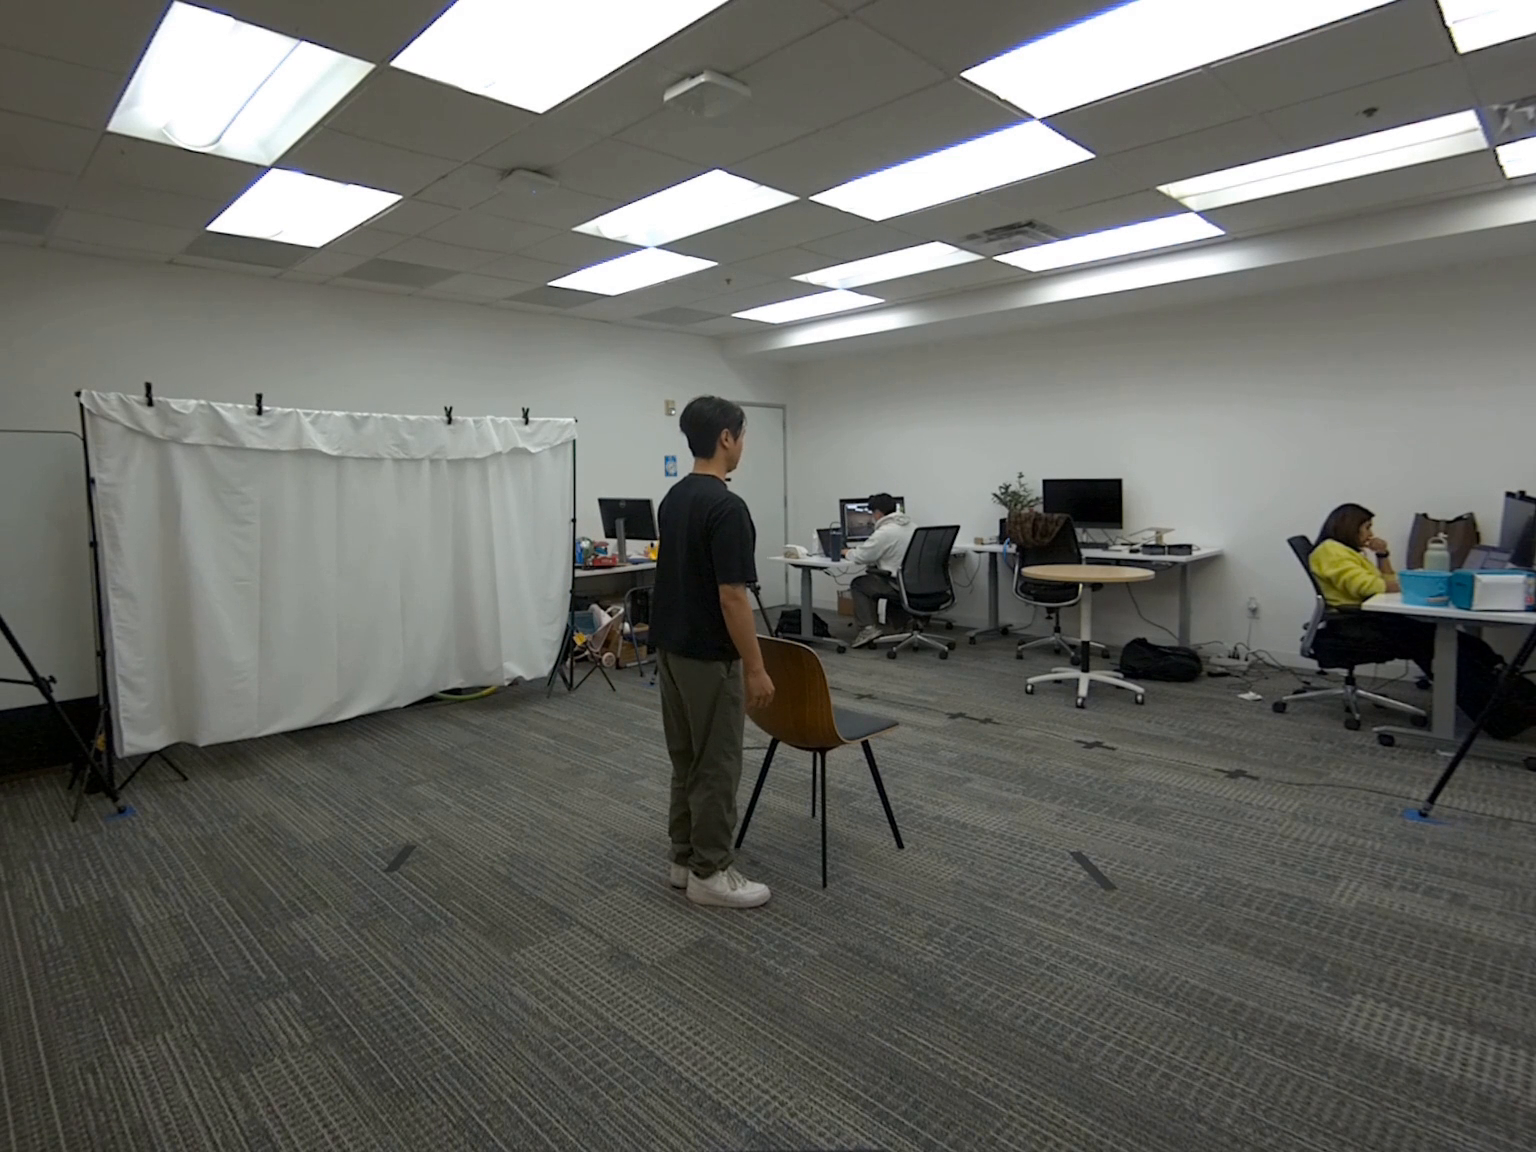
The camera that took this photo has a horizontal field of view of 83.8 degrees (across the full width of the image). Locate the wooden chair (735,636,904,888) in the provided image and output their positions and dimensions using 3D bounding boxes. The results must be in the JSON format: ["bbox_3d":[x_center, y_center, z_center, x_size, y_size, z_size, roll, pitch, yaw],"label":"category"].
[{"bbox_3d":[0.191,0.600,3.195,0.511,0.872,0.493,-11,9,-43],"label":"wooden chair"}]
